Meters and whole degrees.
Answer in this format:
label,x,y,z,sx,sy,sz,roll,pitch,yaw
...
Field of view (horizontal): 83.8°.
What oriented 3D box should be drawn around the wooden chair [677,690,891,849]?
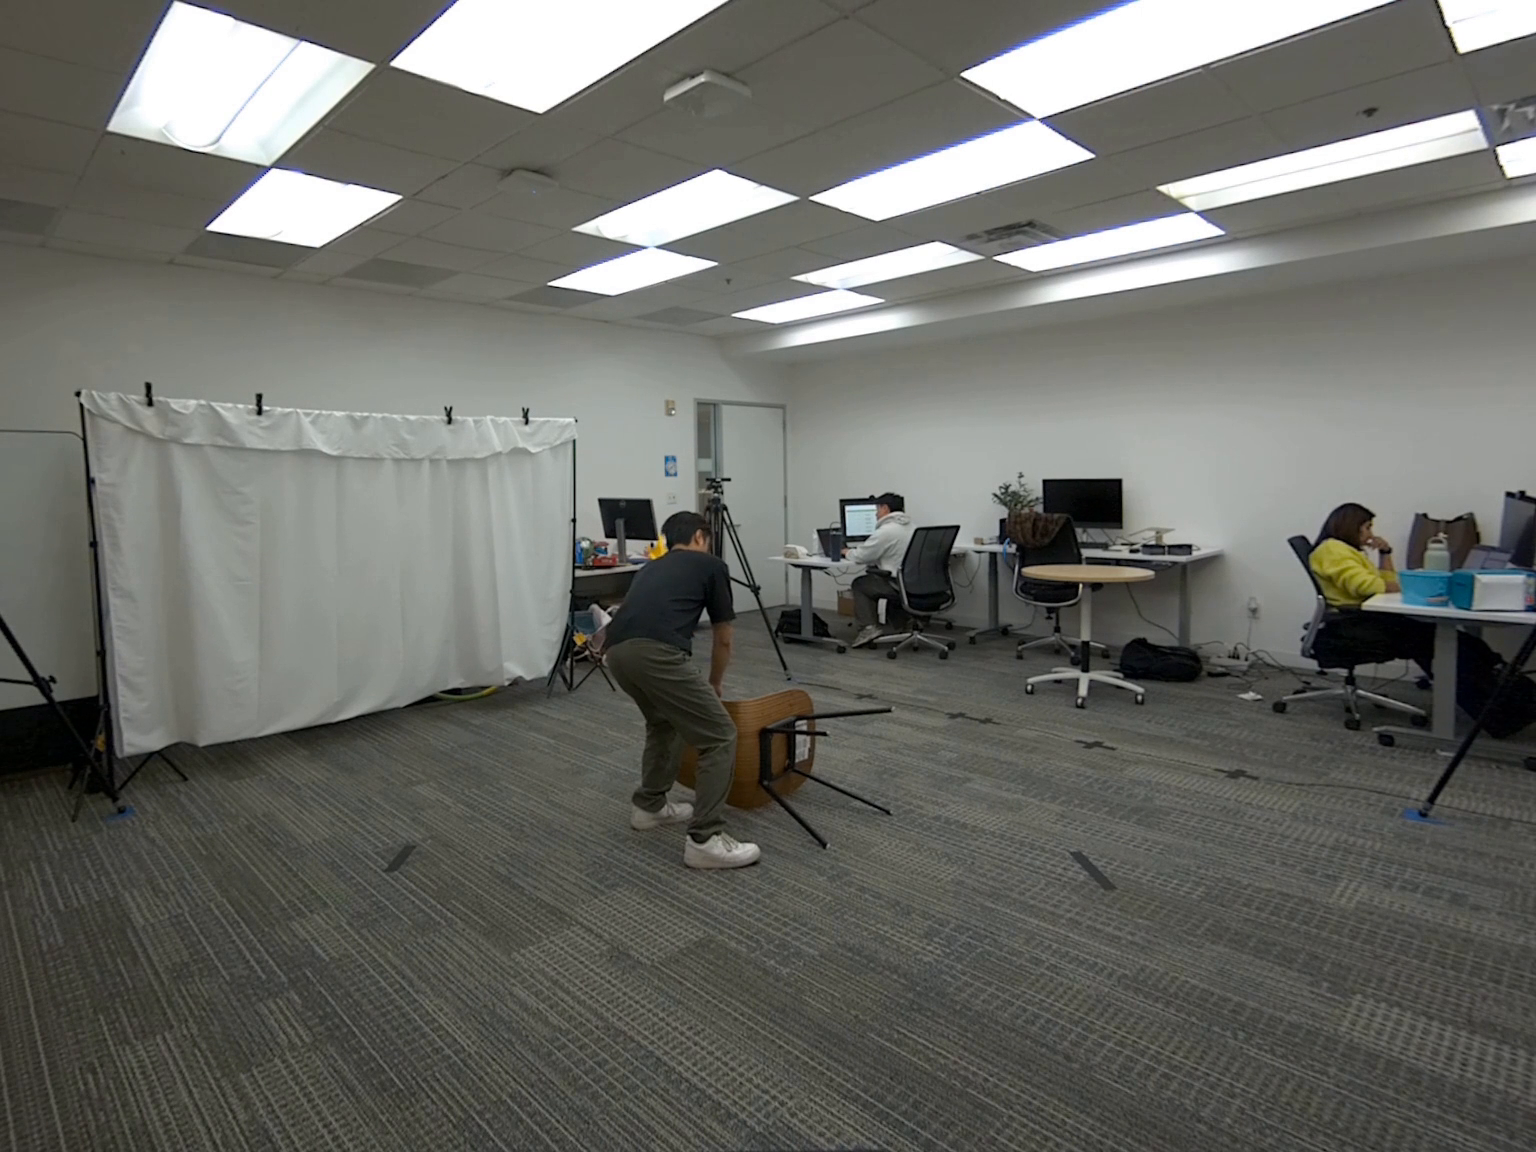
label,x,y,z,sx,sy,sz,roll,pitch,yaw
wooden chair,0.048,0.746,3.644,0.904,0.476,0.510,4,8,37
